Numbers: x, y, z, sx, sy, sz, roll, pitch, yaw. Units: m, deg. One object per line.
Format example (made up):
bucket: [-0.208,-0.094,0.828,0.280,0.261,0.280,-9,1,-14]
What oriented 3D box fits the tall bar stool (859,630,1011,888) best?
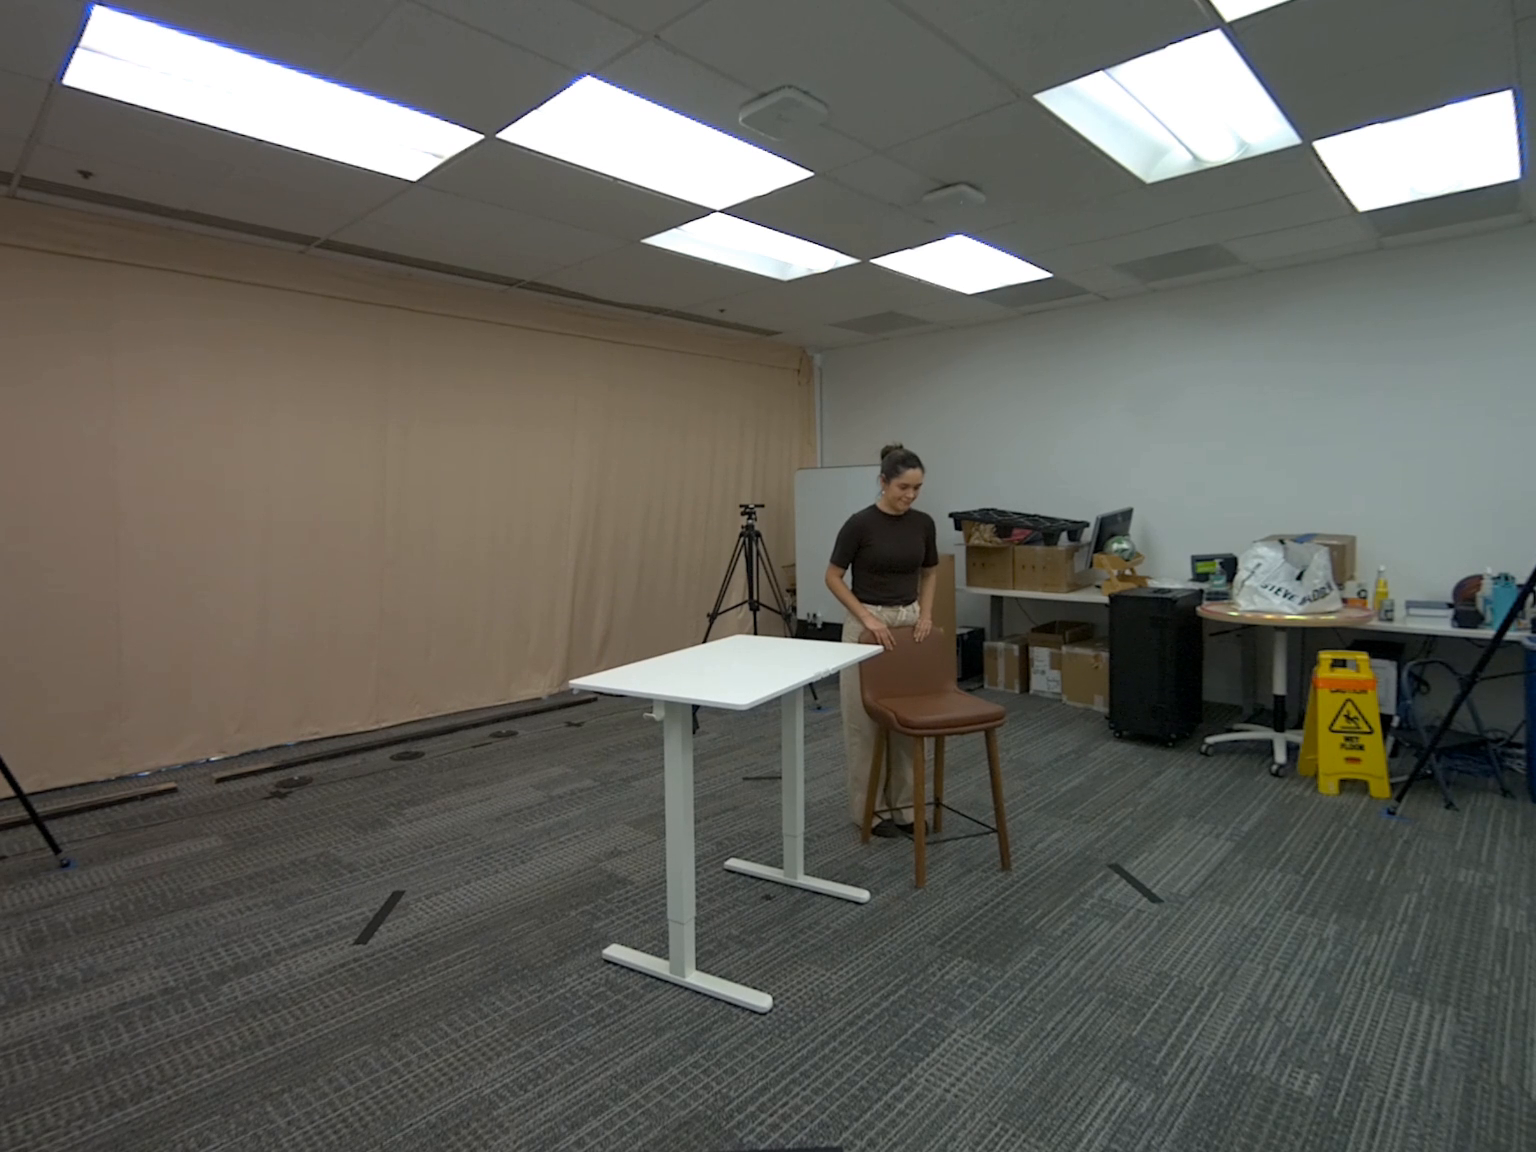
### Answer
tall bar stool: [0.632,0.661,3.287,0.447,0.889,0.477,-1,2,-20]
